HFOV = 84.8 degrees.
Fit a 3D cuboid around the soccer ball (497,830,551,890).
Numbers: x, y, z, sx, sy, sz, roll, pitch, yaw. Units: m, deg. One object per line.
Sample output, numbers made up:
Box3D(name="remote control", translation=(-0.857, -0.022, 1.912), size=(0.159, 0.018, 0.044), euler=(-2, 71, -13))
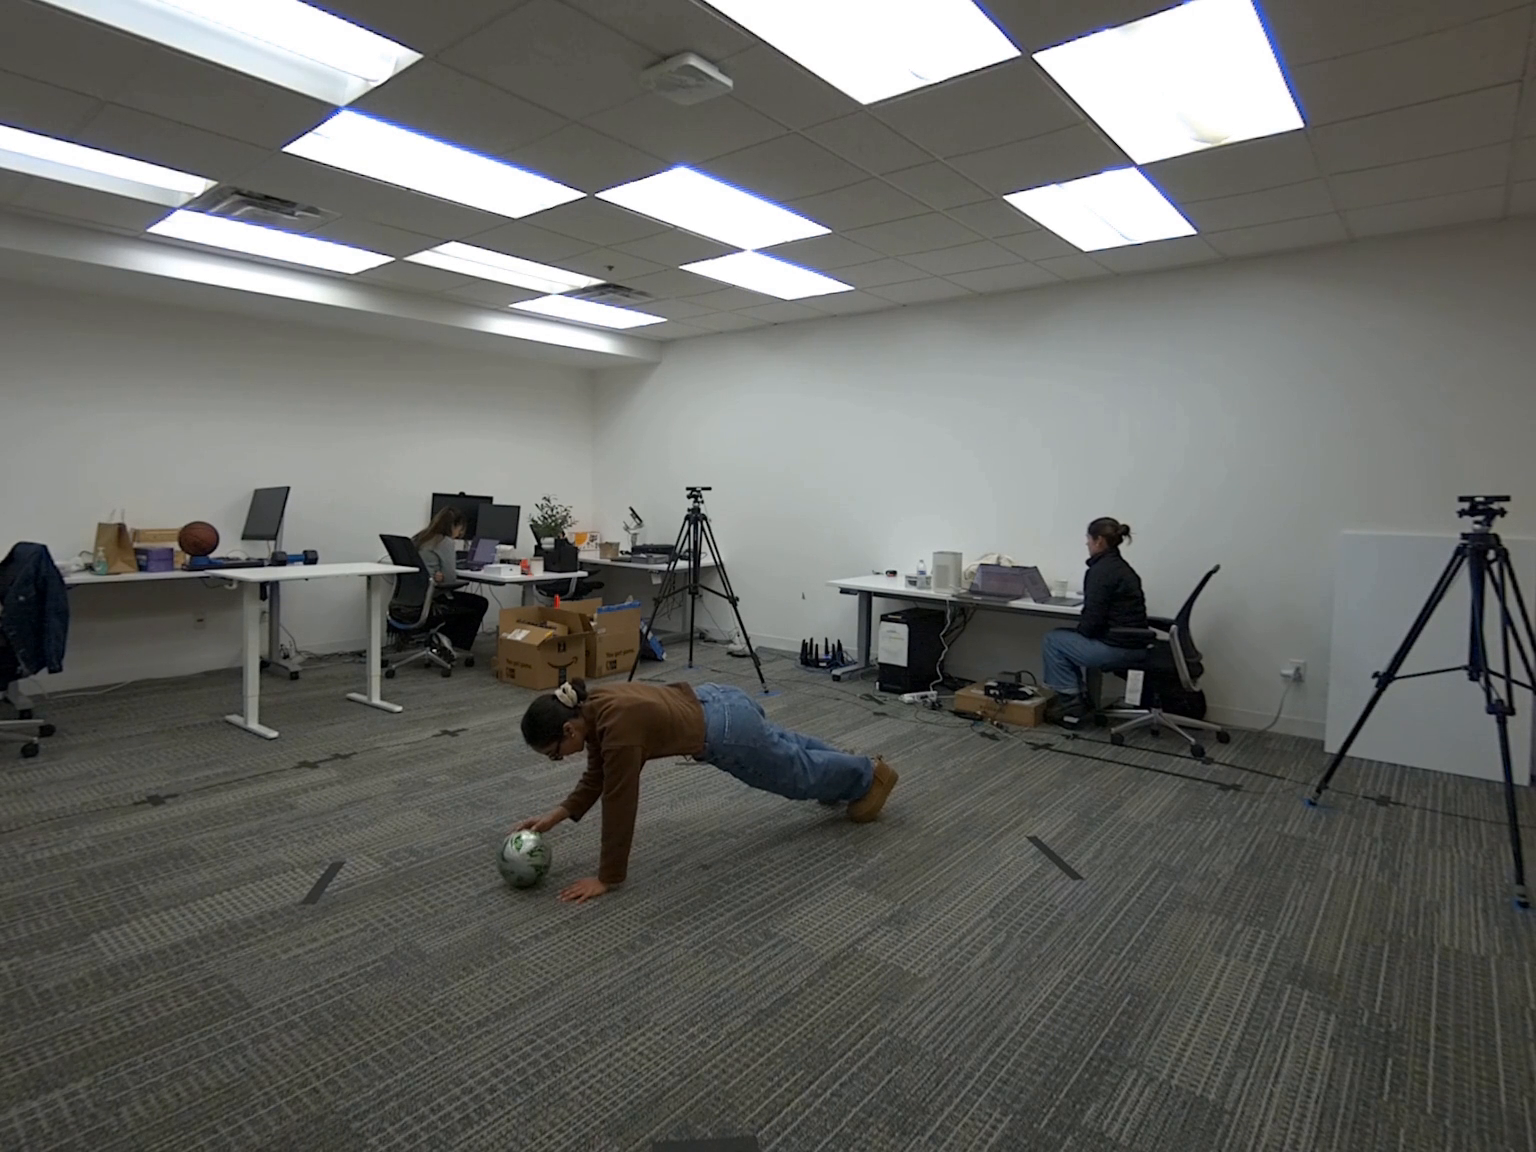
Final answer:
Box3D(name="soccer ball", translation=(-0.859, 0.986, 2.953), size=(0.187, 0.187, 0.188), euler=(1, 4, -2))
